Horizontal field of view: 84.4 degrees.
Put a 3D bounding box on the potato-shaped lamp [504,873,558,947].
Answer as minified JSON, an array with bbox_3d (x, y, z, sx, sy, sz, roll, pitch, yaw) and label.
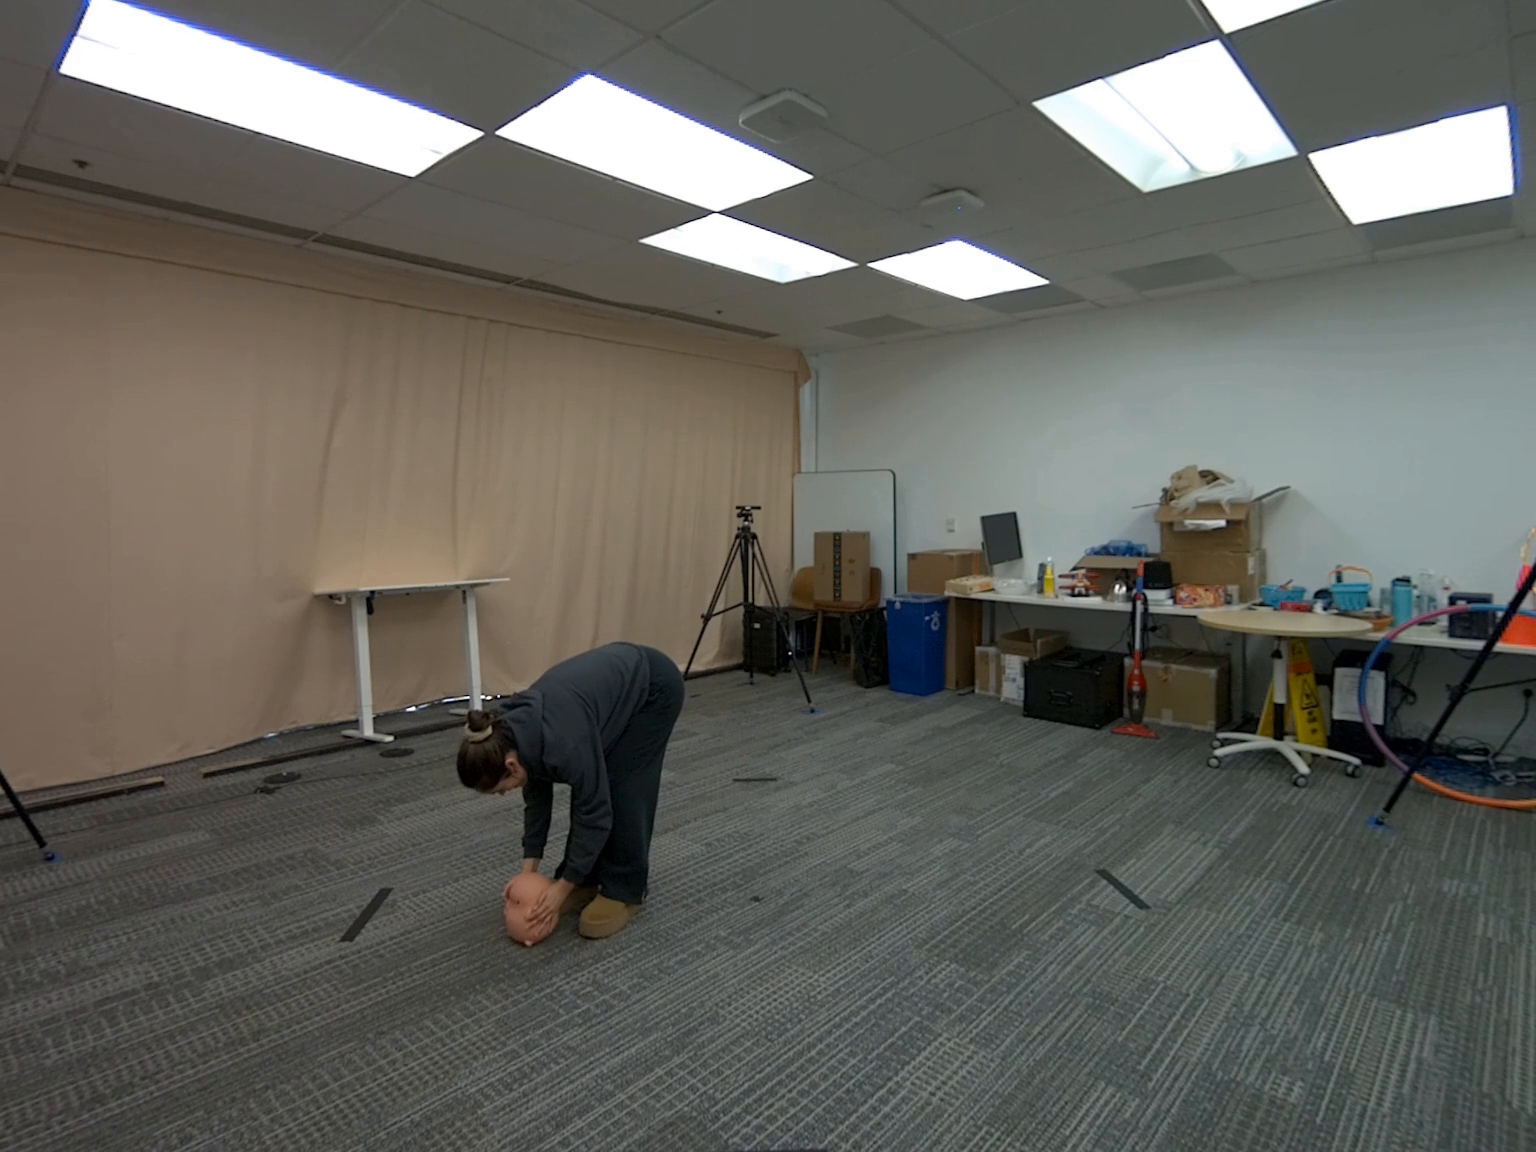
[{"bbox_3d":[-0.750,1.068,2.738,0.170,0.197,0.167,0,9,43],"label":"potato-shaped lamp"}]
